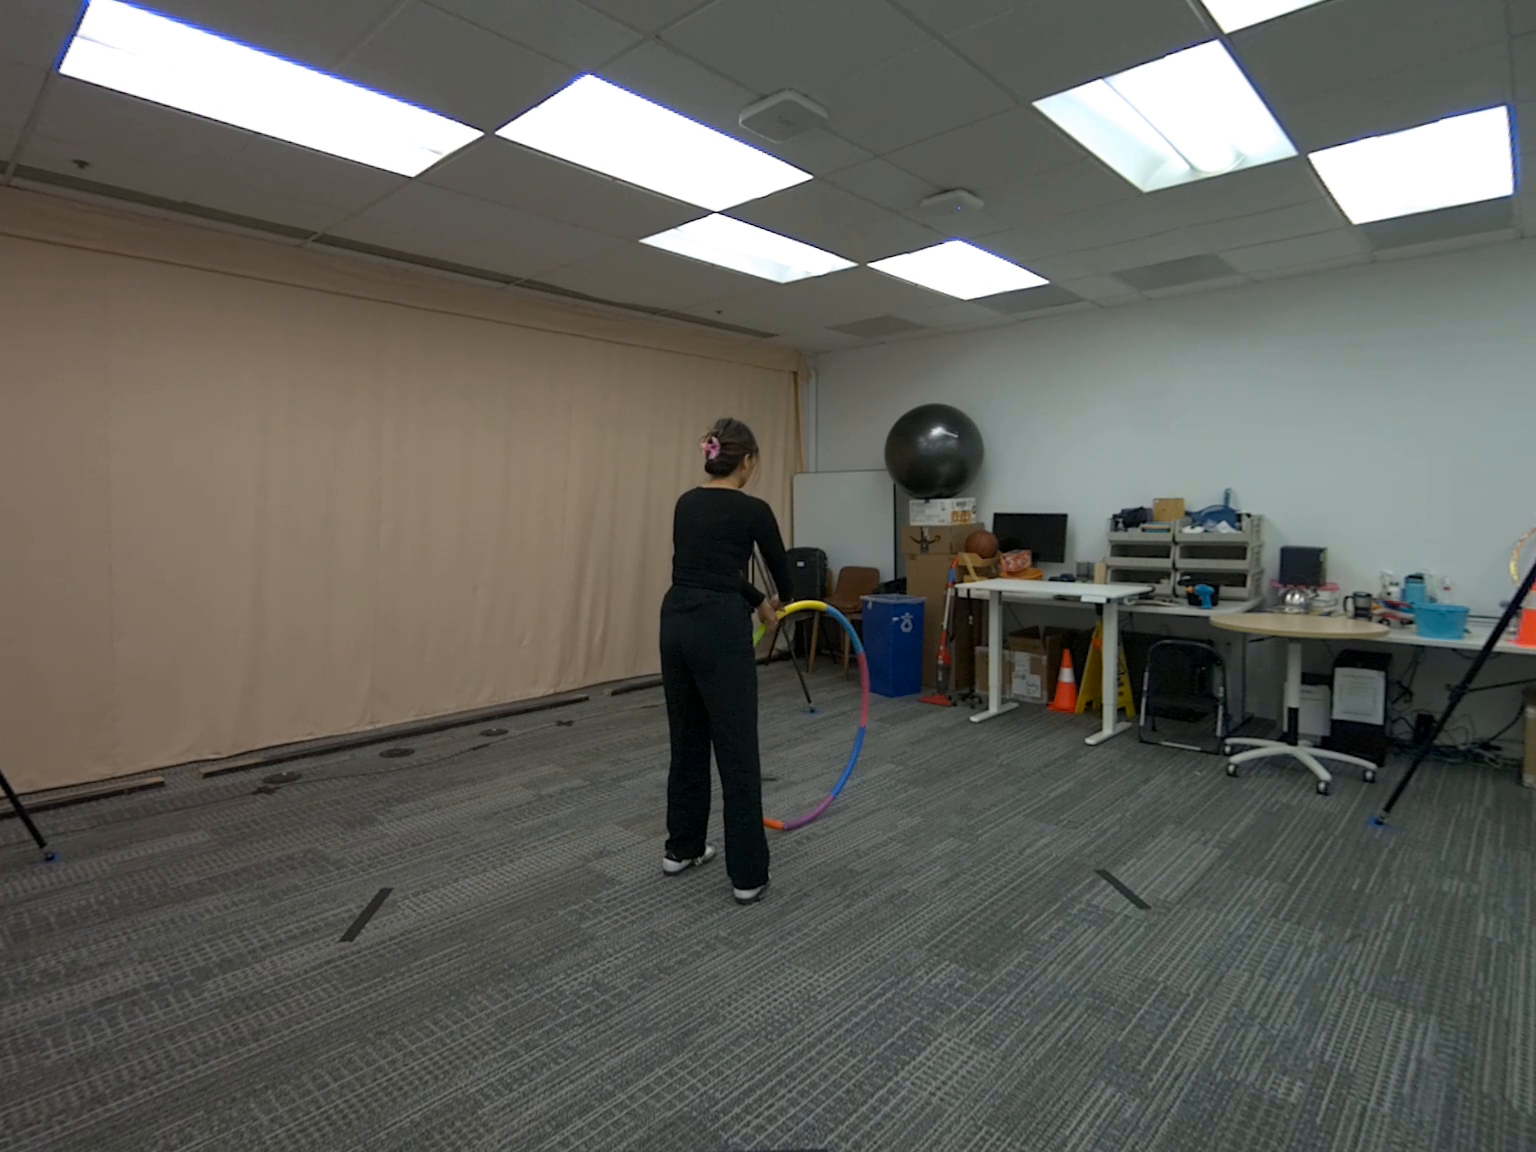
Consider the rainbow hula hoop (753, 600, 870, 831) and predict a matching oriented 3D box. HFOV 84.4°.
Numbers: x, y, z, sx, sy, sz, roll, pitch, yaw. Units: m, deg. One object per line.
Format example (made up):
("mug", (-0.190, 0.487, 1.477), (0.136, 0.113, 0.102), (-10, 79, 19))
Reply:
("rainbow hula hoop", (0.150, 0.602, 3.643), (0.037, 0.977, 0.949), (2, 4, 43))
